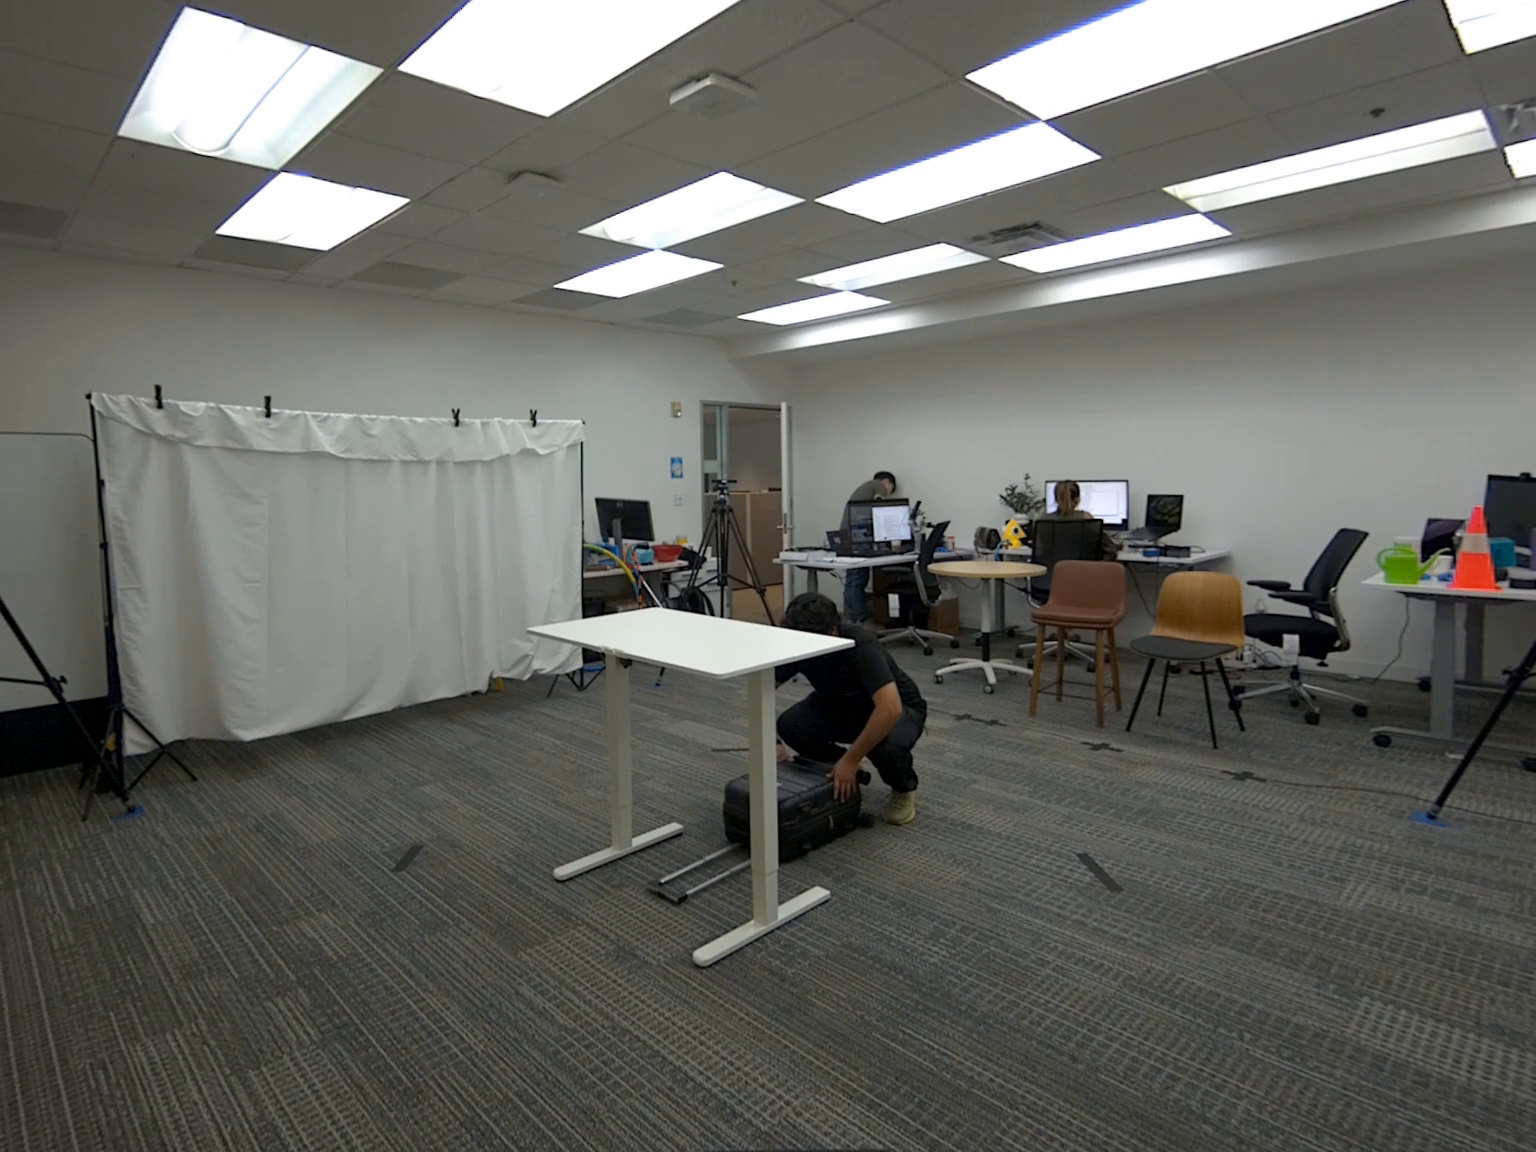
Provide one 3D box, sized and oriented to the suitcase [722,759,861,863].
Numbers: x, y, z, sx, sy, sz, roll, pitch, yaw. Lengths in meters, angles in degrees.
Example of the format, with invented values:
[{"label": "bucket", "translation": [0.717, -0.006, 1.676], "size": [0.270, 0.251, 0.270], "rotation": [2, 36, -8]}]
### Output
[{"label": "suitcase", "translation": [-0.039, 0.913, 3.205], "size": [0.396, 0.256, 0.952], "rotation": [7, 9, 43]}]
